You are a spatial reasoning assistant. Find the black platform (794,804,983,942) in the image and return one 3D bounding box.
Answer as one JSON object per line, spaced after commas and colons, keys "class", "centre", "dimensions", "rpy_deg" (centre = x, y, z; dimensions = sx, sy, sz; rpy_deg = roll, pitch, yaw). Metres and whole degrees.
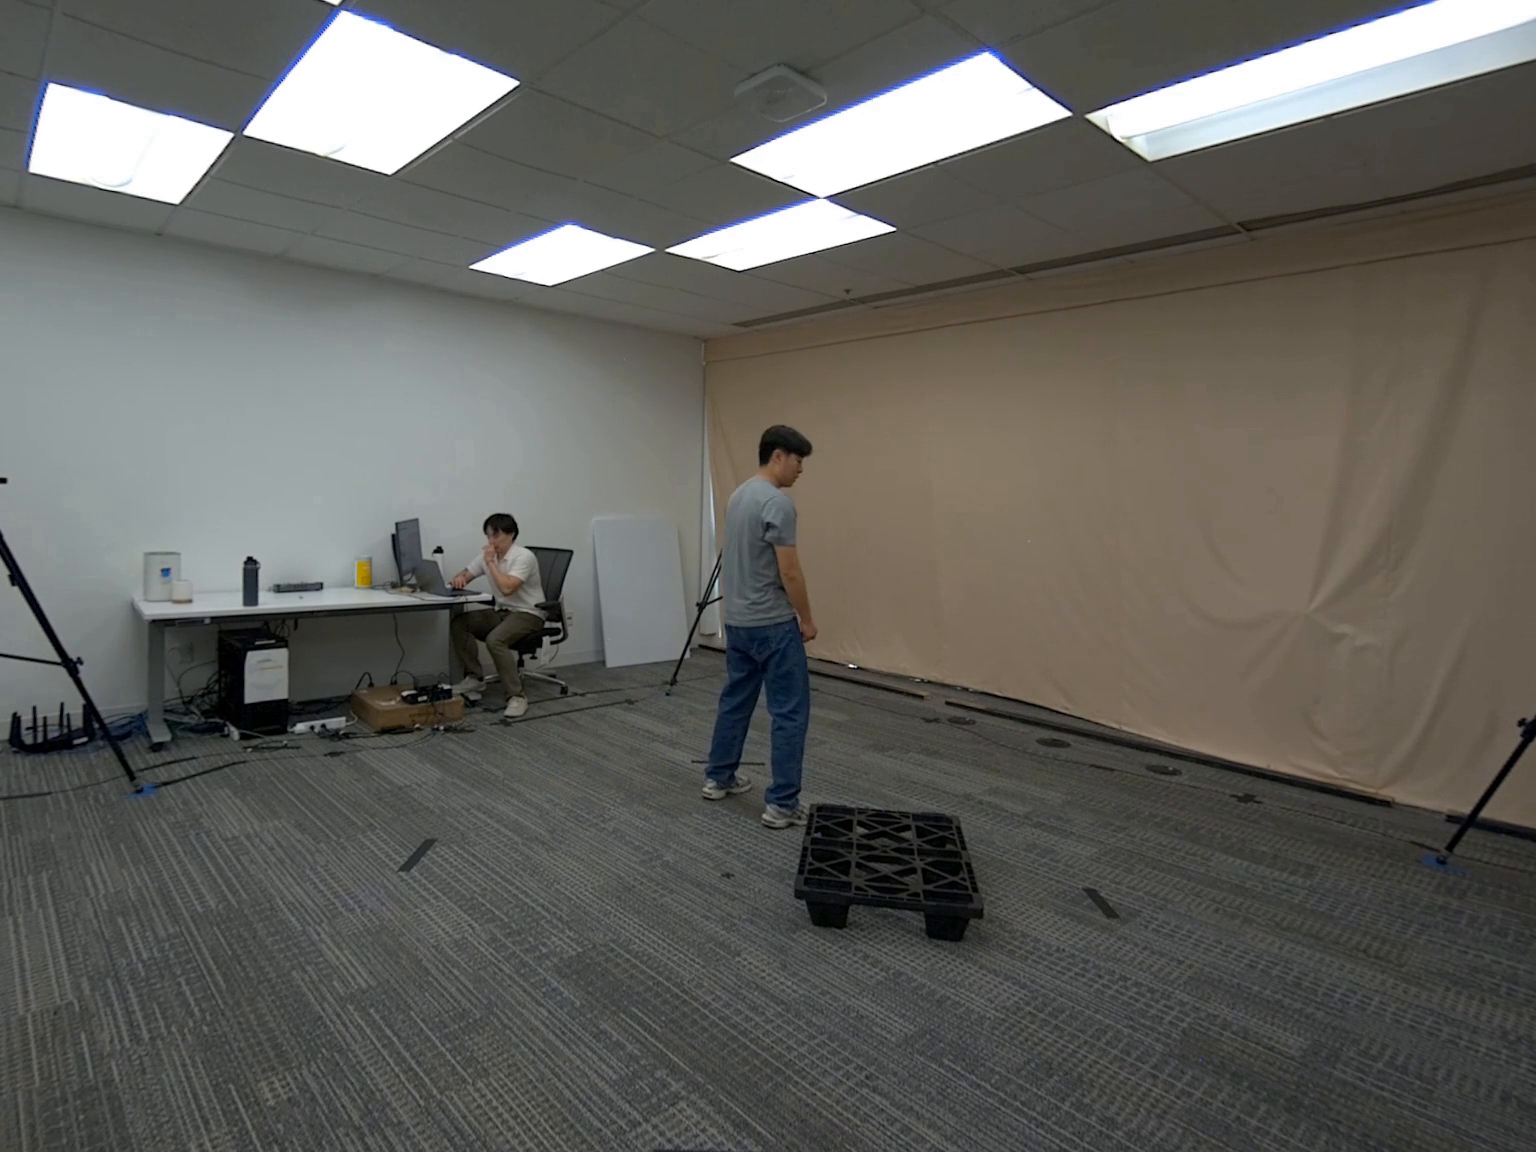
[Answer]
{"class": "black platform", "centre": [0.413, 1.053, 3.062], "dimensions": [0.609, 0.143, 0.802], "rpy_deg": [2, 5, 8]}
